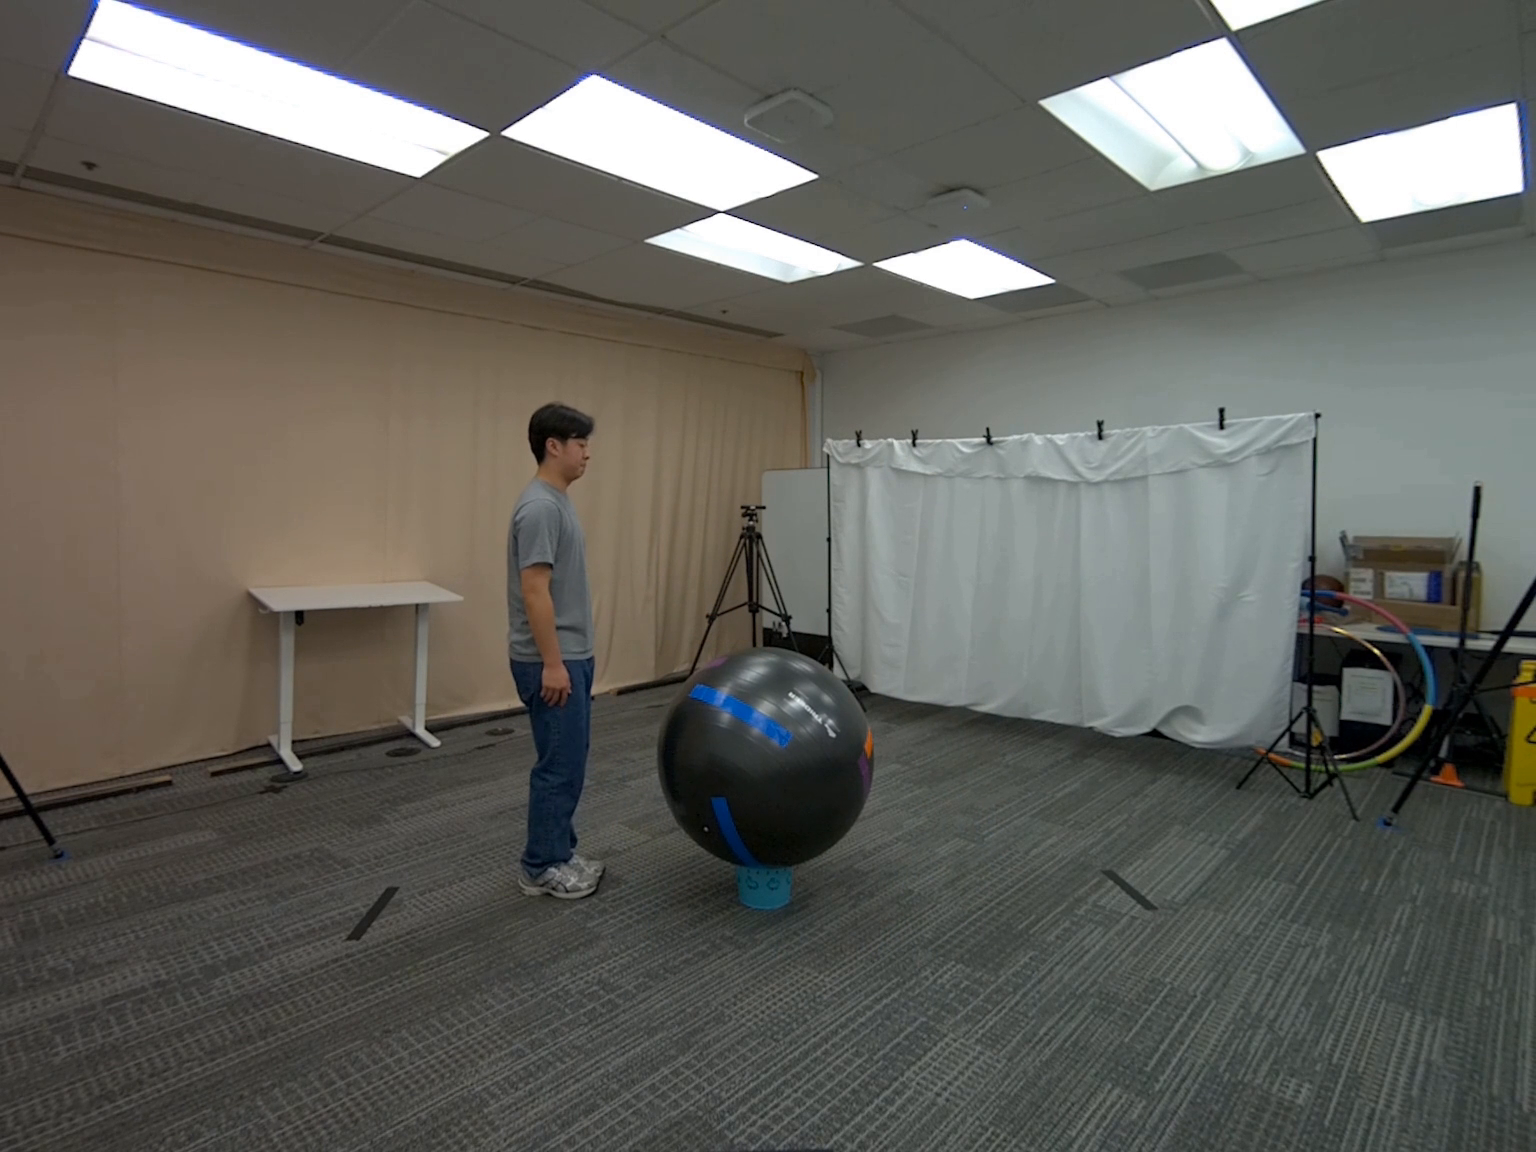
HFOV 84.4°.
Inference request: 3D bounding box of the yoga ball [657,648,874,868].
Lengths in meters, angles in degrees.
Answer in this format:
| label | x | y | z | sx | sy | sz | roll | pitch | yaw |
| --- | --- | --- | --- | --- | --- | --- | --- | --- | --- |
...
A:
| label | x | y | z | sx | sy | sz | roll | pitch | yaw |
| --- | --- | --- | --- | --- | --- | --- | --- | --- | --- |
| yoga ball | -0.003 | 0.637 | 2.971 | 0.757 | 0.756 | 0.760 | 0 | 4 | -2 |
